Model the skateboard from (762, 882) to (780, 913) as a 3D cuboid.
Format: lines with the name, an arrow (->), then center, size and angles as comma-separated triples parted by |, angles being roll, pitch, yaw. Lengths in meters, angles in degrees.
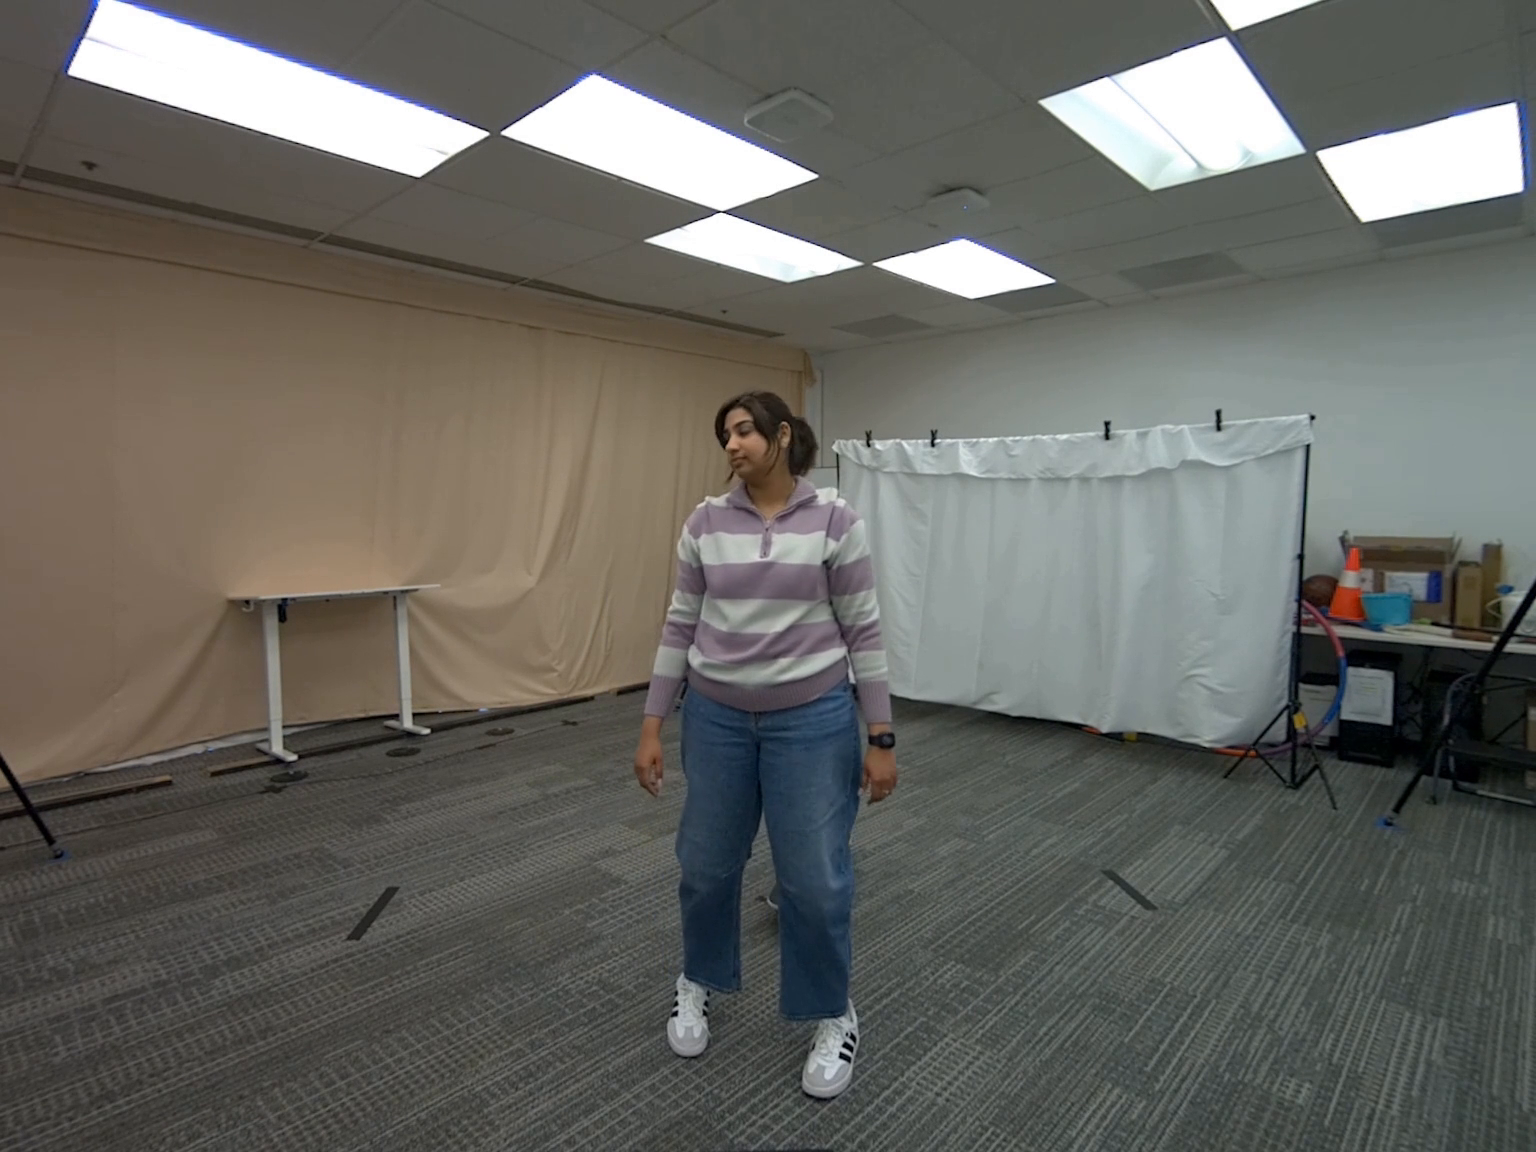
skateboard -> 0.170, 1.080, 3.054 | 0.197, 0.110, 0.774 | 1, 5, 14
